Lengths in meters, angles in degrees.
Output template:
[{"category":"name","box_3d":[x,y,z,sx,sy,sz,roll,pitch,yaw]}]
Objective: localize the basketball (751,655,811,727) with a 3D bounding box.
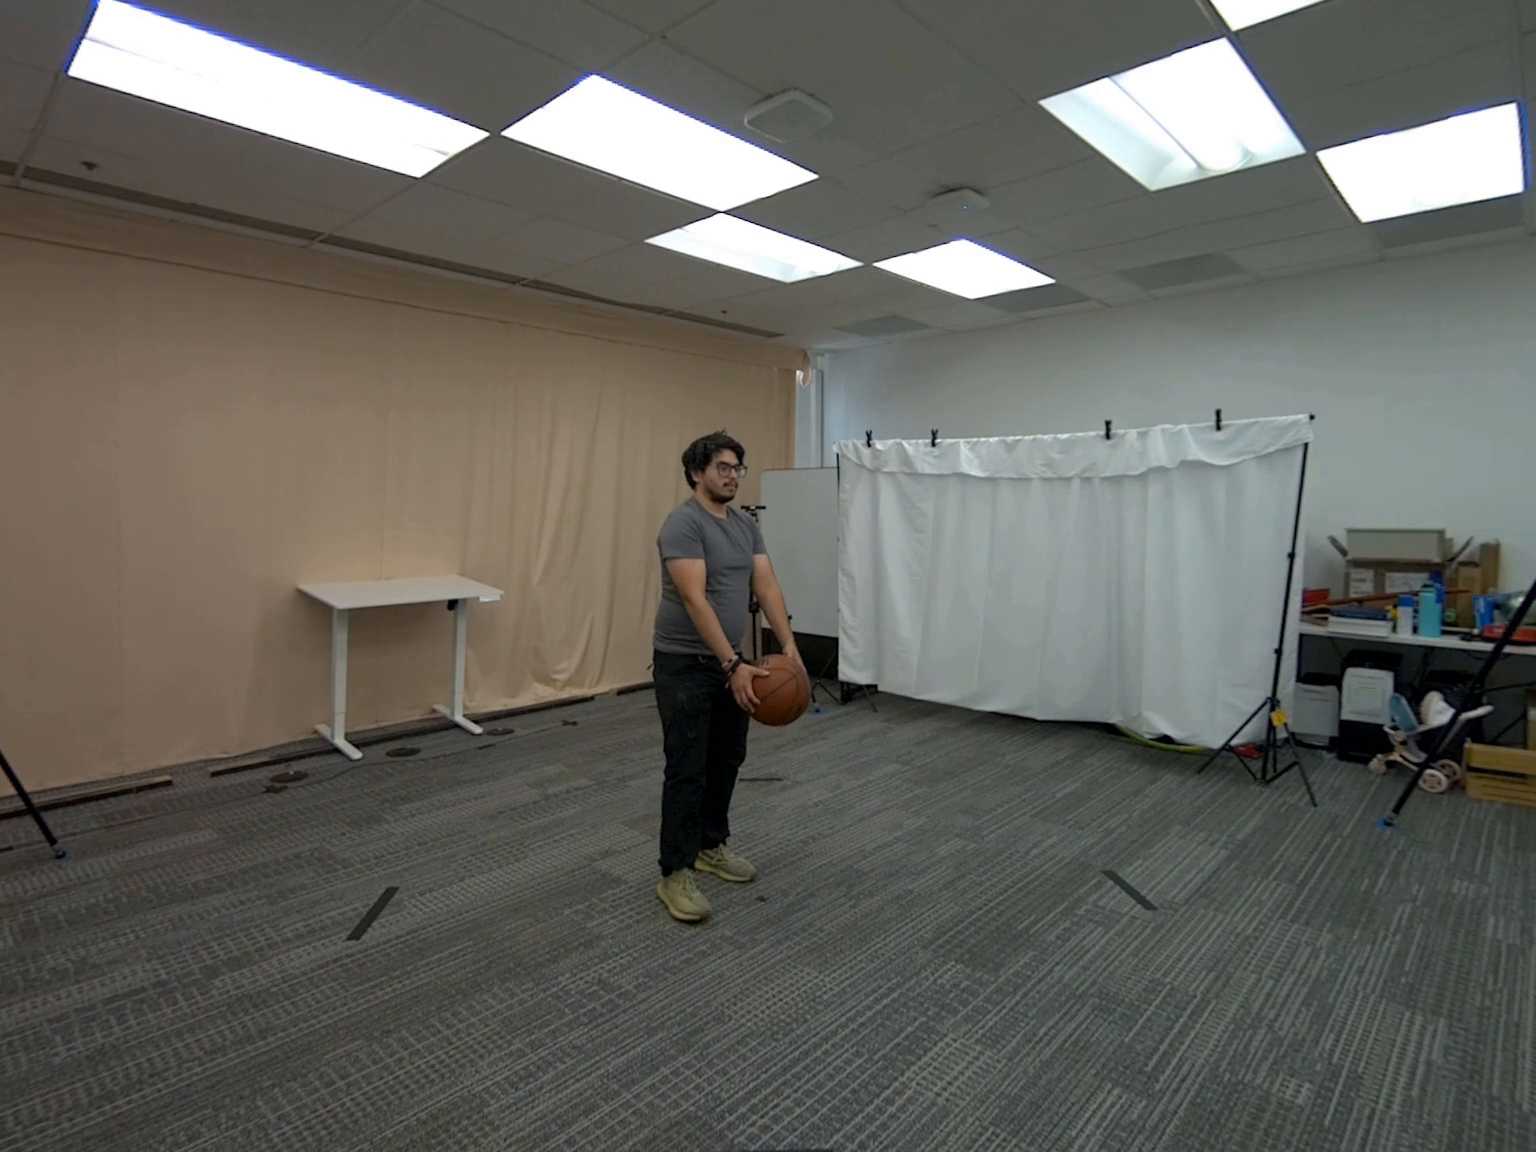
[{"category":"basketball","box_3d":[0.025,0.379,2.812,0.236,0.235,0.237,0,4,-2]}]
